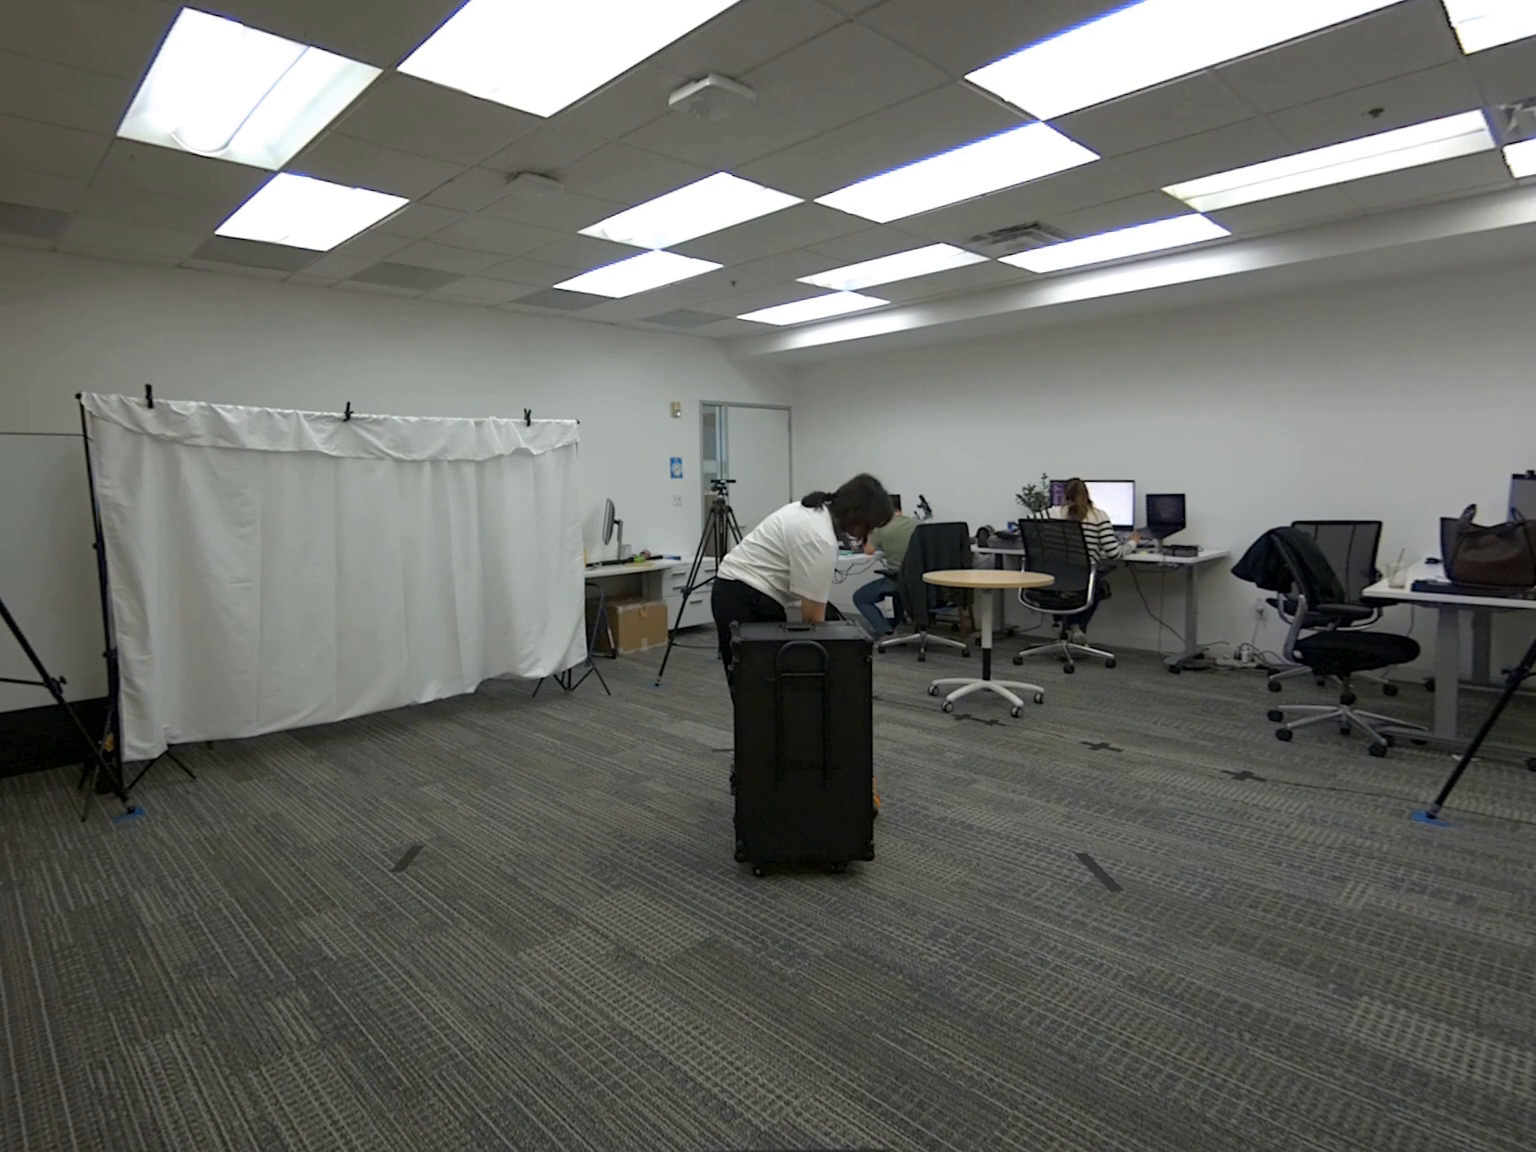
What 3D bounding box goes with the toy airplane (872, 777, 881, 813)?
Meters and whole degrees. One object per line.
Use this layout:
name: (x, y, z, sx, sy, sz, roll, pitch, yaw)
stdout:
toy airplane: (0.340, 0.928, 3.517, 0.262, 0.156, 0.249, 2, 5, 12)
